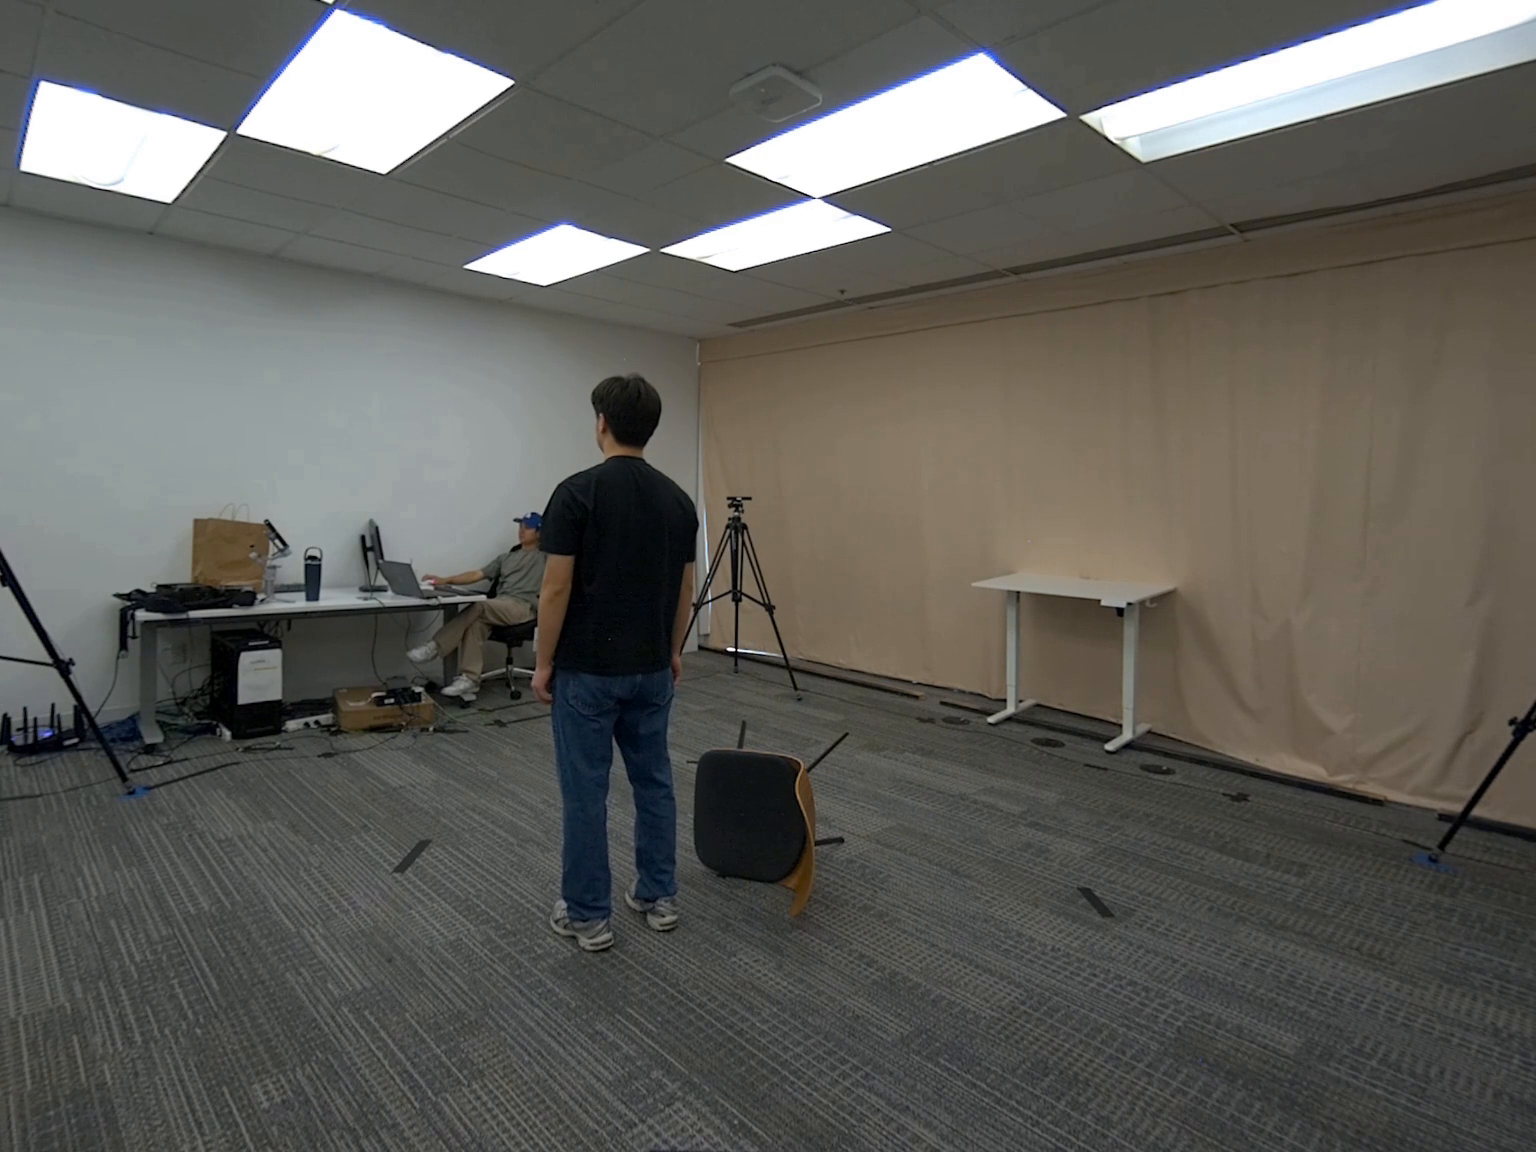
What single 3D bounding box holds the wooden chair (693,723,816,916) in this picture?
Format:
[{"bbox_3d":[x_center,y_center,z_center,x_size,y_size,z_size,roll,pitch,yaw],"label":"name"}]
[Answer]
[{"bbox_3d":[-0.019,0.877,3.103,0.529,0.477,0.870,3,5,13],"label":"wooden chair"}]
